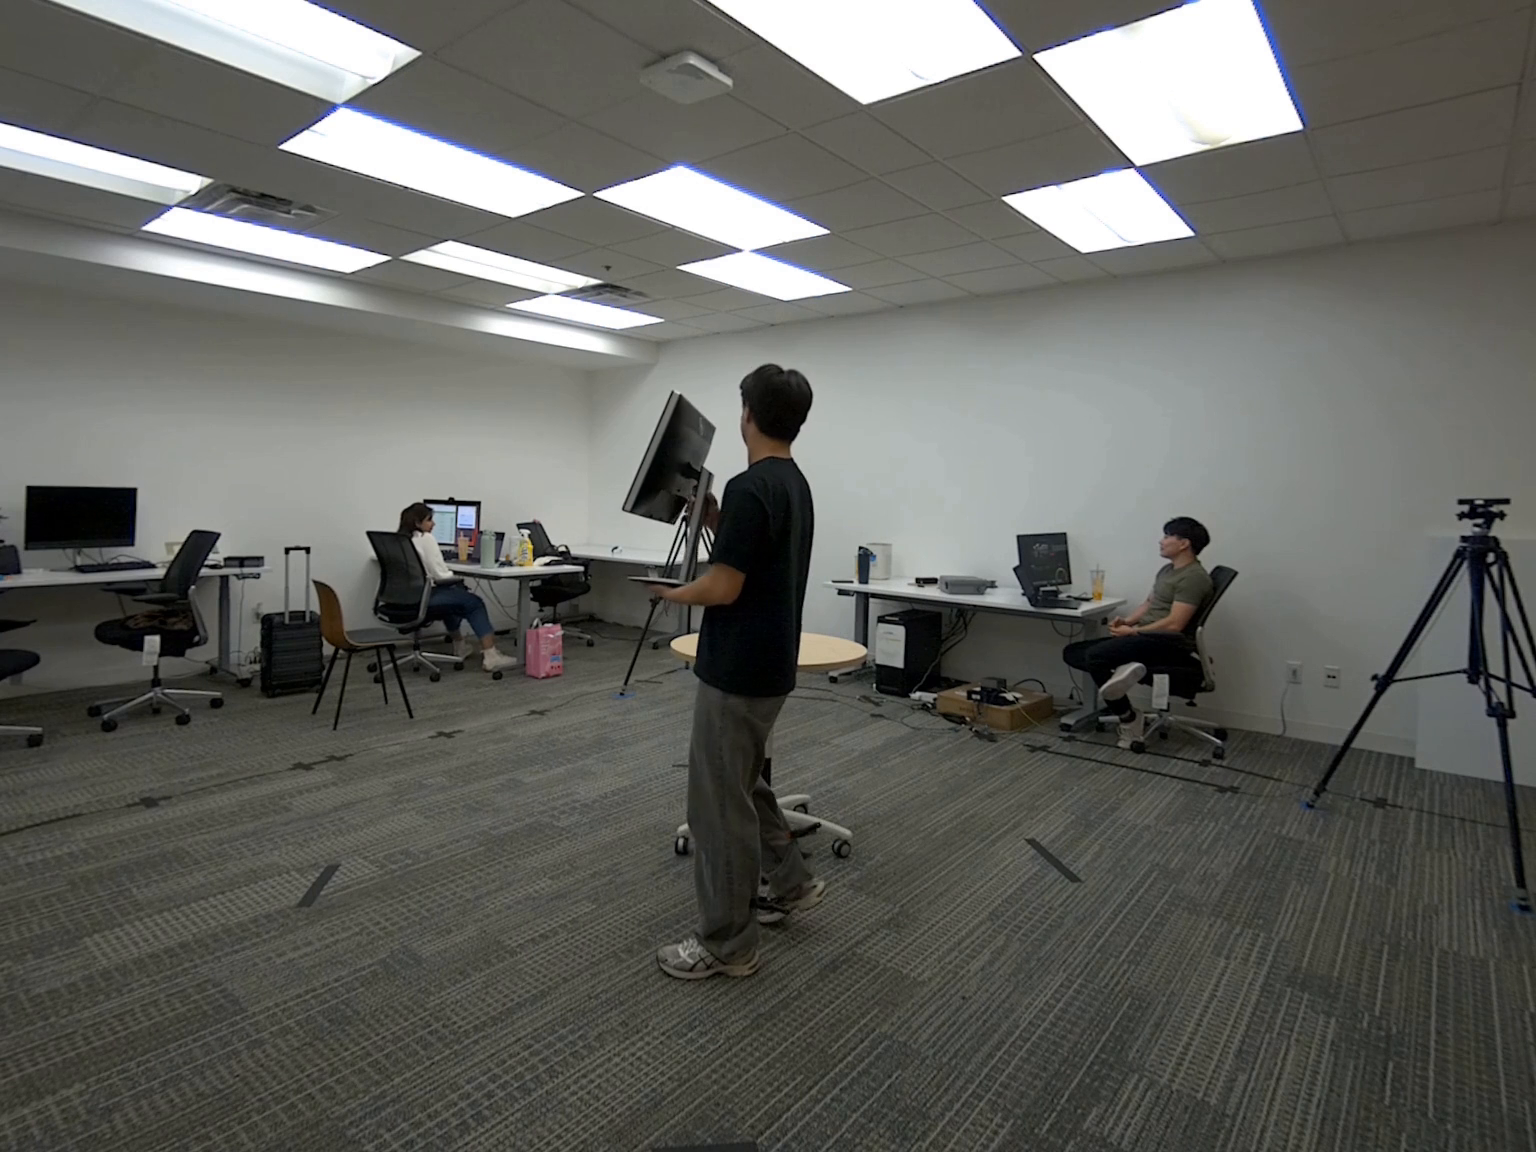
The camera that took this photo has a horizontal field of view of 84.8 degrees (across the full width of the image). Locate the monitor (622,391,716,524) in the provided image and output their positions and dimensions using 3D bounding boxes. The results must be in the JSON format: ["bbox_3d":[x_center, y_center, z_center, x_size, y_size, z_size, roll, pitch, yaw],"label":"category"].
[{"bbox_3d":[-0.283,-0.233,2.614,0.225,0.567,0.554,6,-2,8],"label":"monitor"}]
